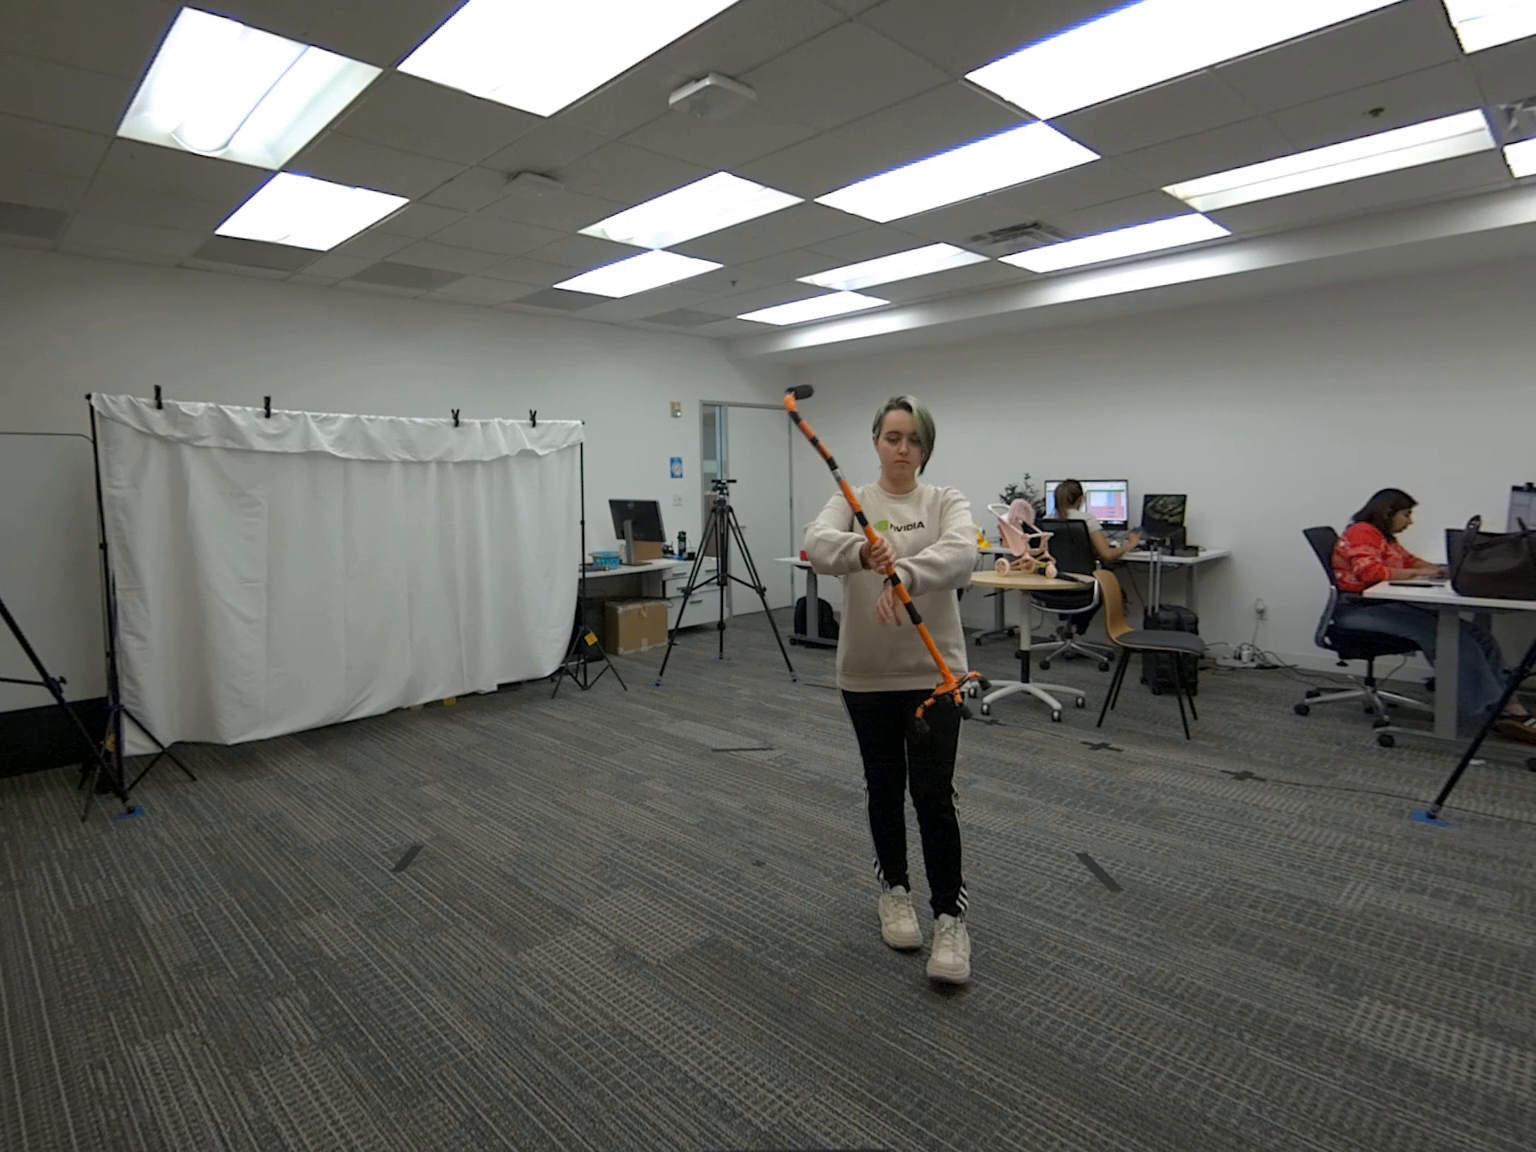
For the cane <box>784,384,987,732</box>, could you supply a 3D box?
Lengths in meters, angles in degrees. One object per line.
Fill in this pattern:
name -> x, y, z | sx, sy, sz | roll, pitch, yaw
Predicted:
cane -> 0.264, -0.065, 2.151 | 0.153, 0.910, 0.203 | -26, -2, 33
